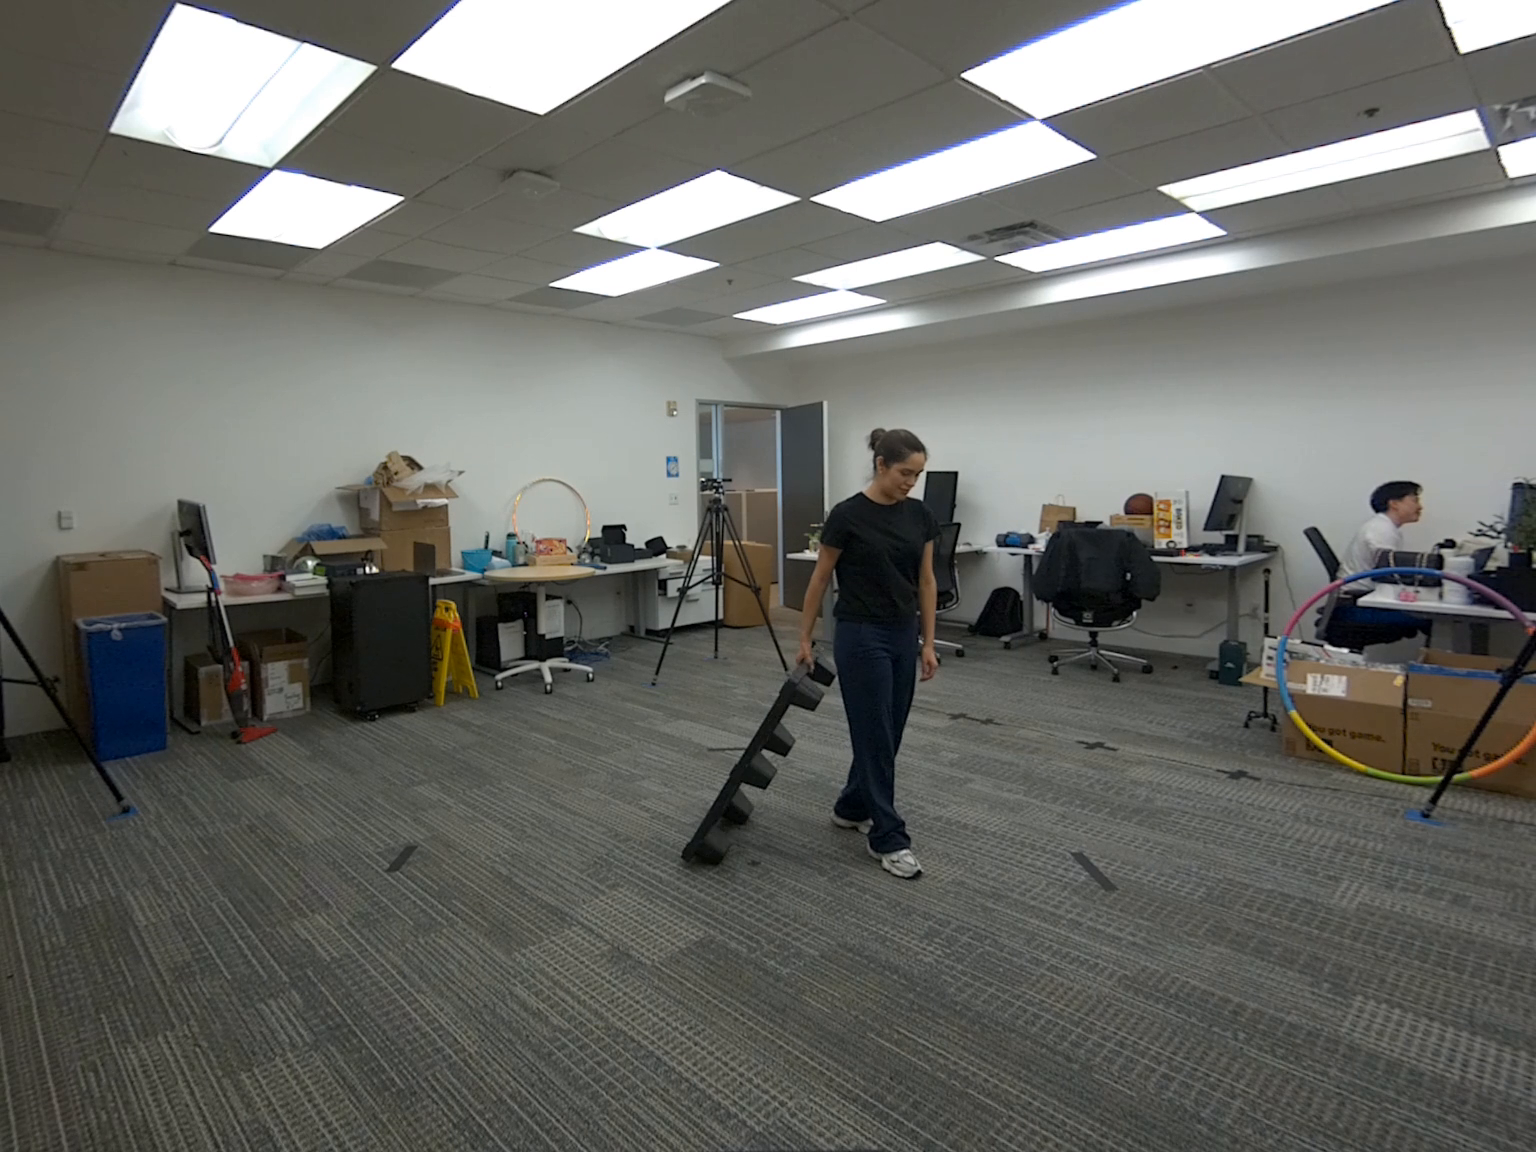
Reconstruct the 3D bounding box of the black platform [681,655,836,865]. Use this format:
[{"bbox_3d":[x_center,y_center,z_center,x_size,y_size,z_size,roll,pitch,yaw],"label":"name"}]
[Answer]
[{"bbox_3d":[-0.008,0.676,3.267,0.145,0.803,0.600,31,11,6],"label":"black platform"}]
